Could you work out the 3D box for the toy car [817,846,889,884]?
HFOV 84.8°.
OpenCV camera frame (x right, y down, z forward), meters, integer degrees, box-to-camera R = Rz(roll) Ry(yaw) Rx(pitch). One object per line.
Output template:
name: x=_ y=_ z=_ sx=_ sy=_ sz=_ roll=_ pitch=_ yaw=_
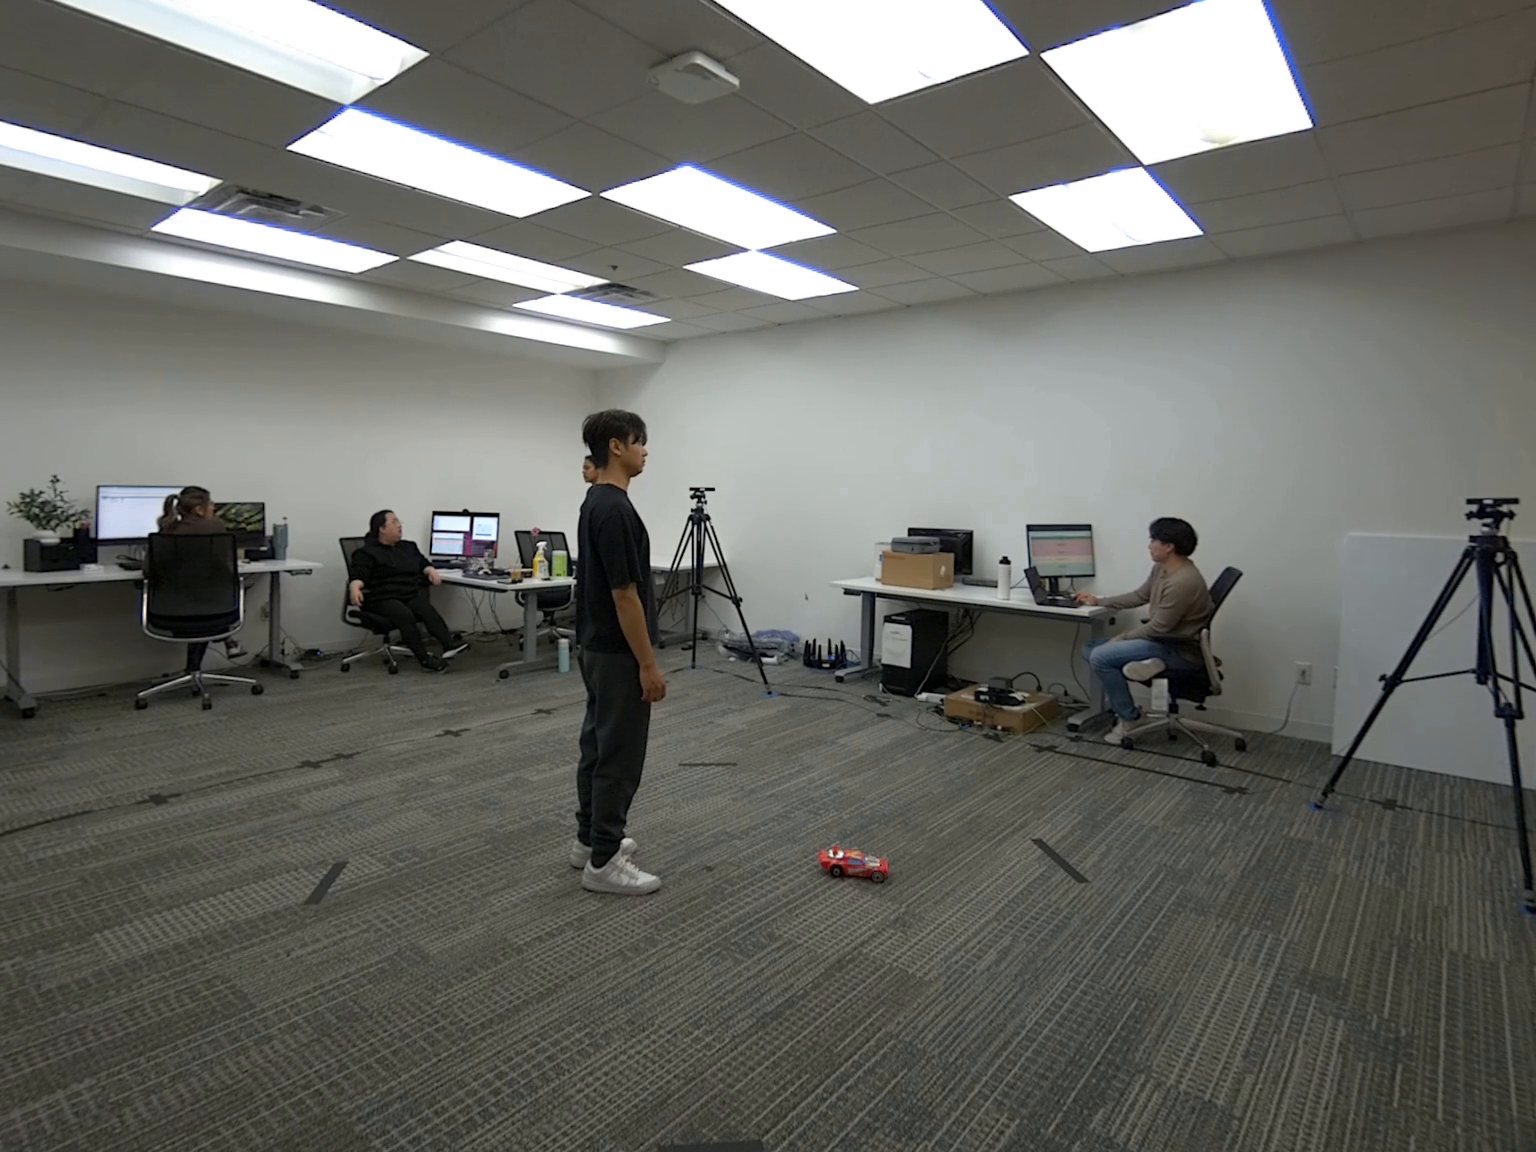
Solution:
toy car: x=0.311 y=1.053 z=3.099 sx=0.259 sy=0.083 sz=0.129 roll=13 pitch=5 yaw=12
